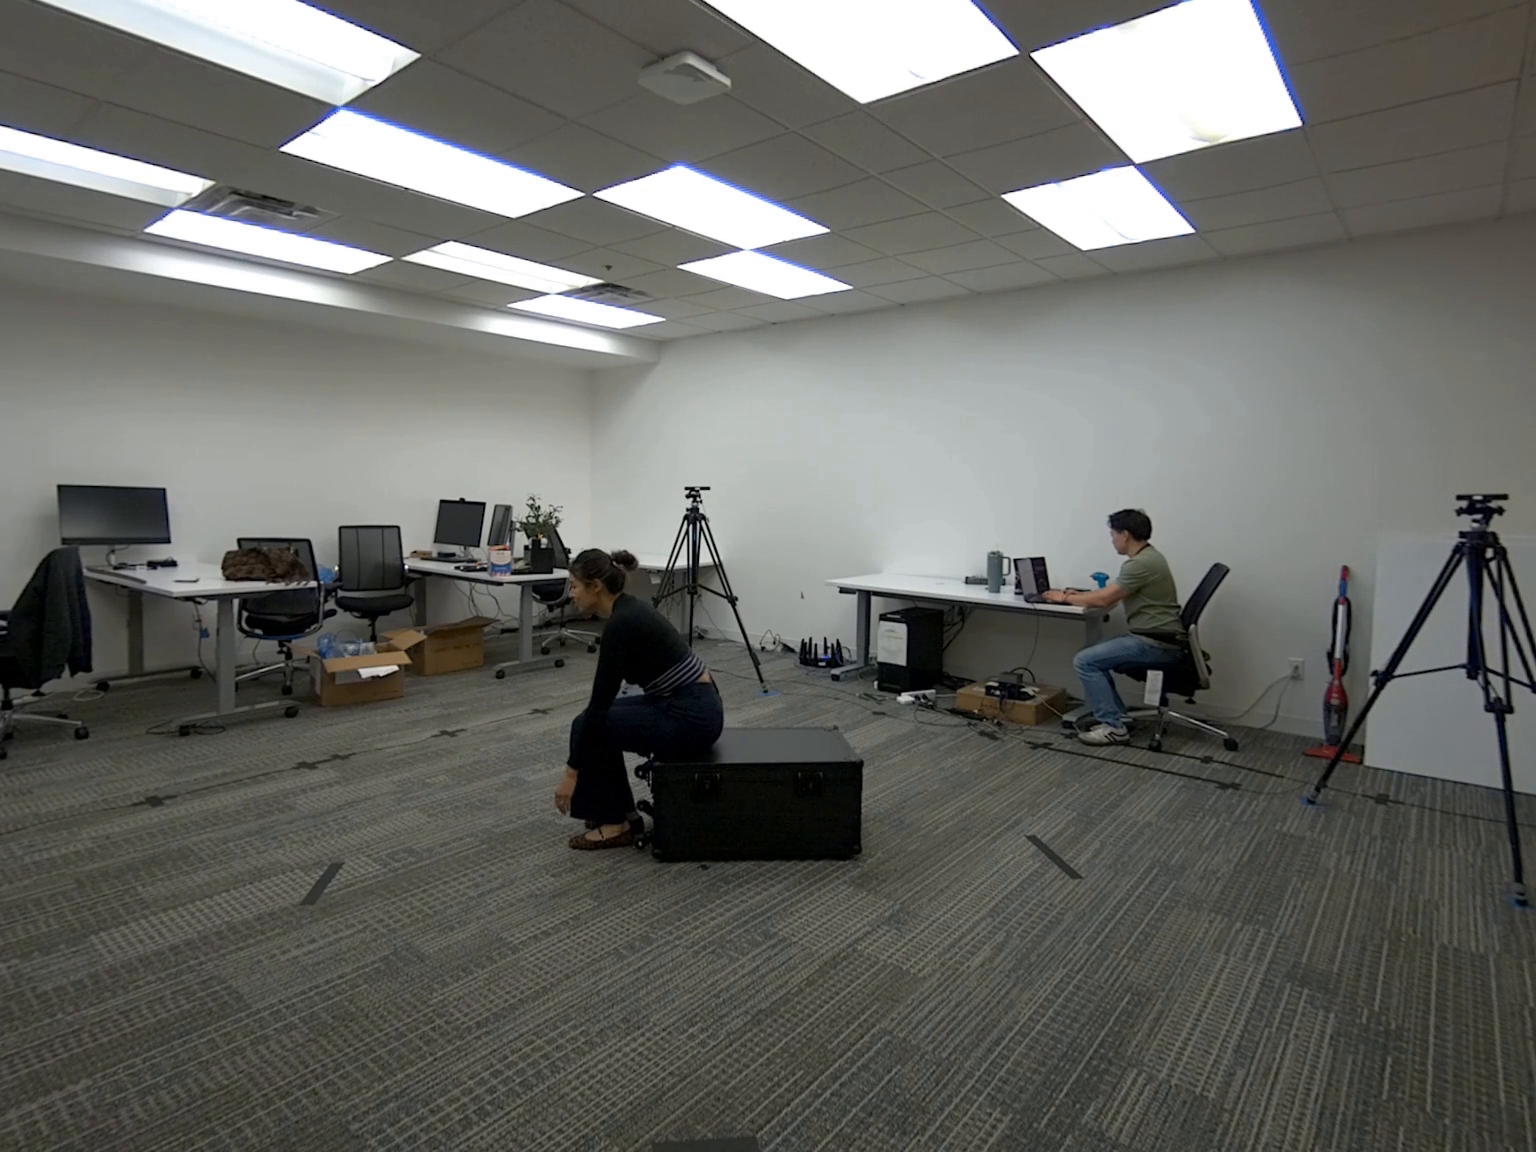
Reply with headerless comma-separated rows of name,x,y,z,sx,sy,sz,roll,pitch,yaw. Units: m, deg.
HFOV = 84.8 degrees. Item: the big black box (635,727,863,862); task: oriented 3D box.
big black box,-0.101,0.851,3.392,0.858,0.395,0.526,0,5,-5
